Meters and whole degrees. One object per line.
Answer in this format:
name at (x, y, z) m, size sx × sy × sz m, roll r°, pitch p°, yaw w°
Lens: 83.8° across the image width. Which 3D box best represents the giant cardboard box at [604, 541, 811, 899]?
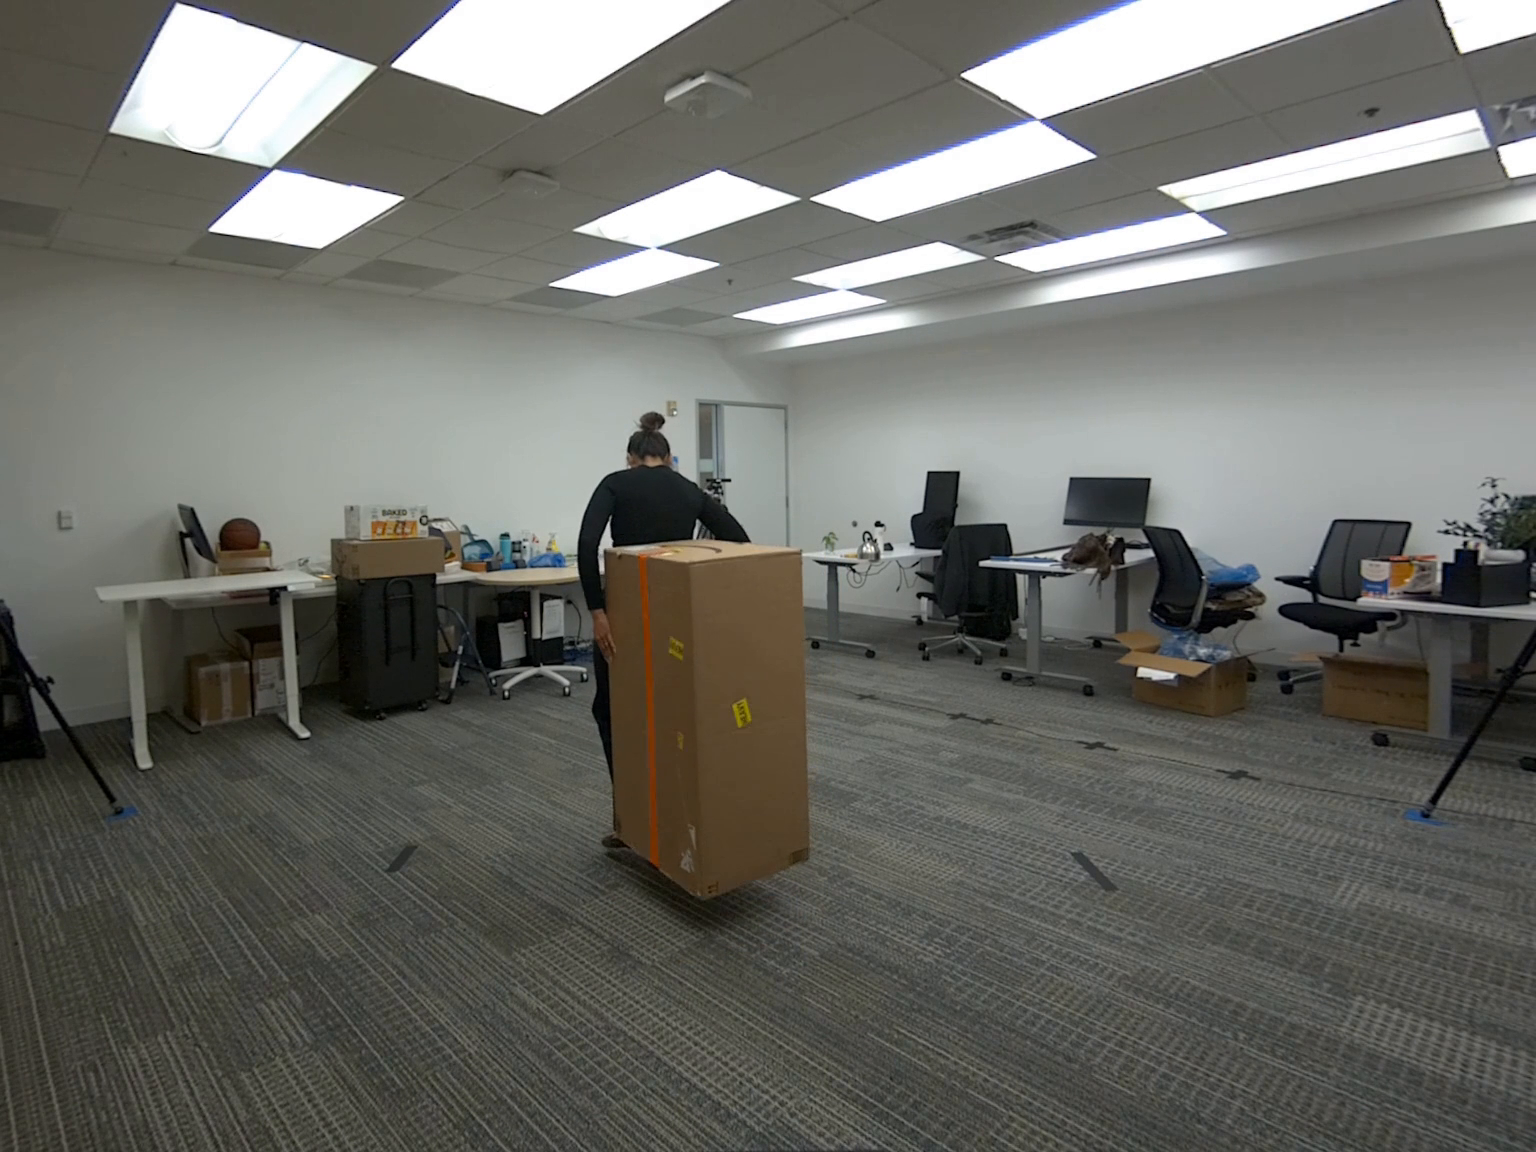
giant cardboard box at (-0.209, 0.423, 2.847) m, size 0.416 × 1.021 × 0.595 m, roll -5°, pitch 7°, yaw -35°
